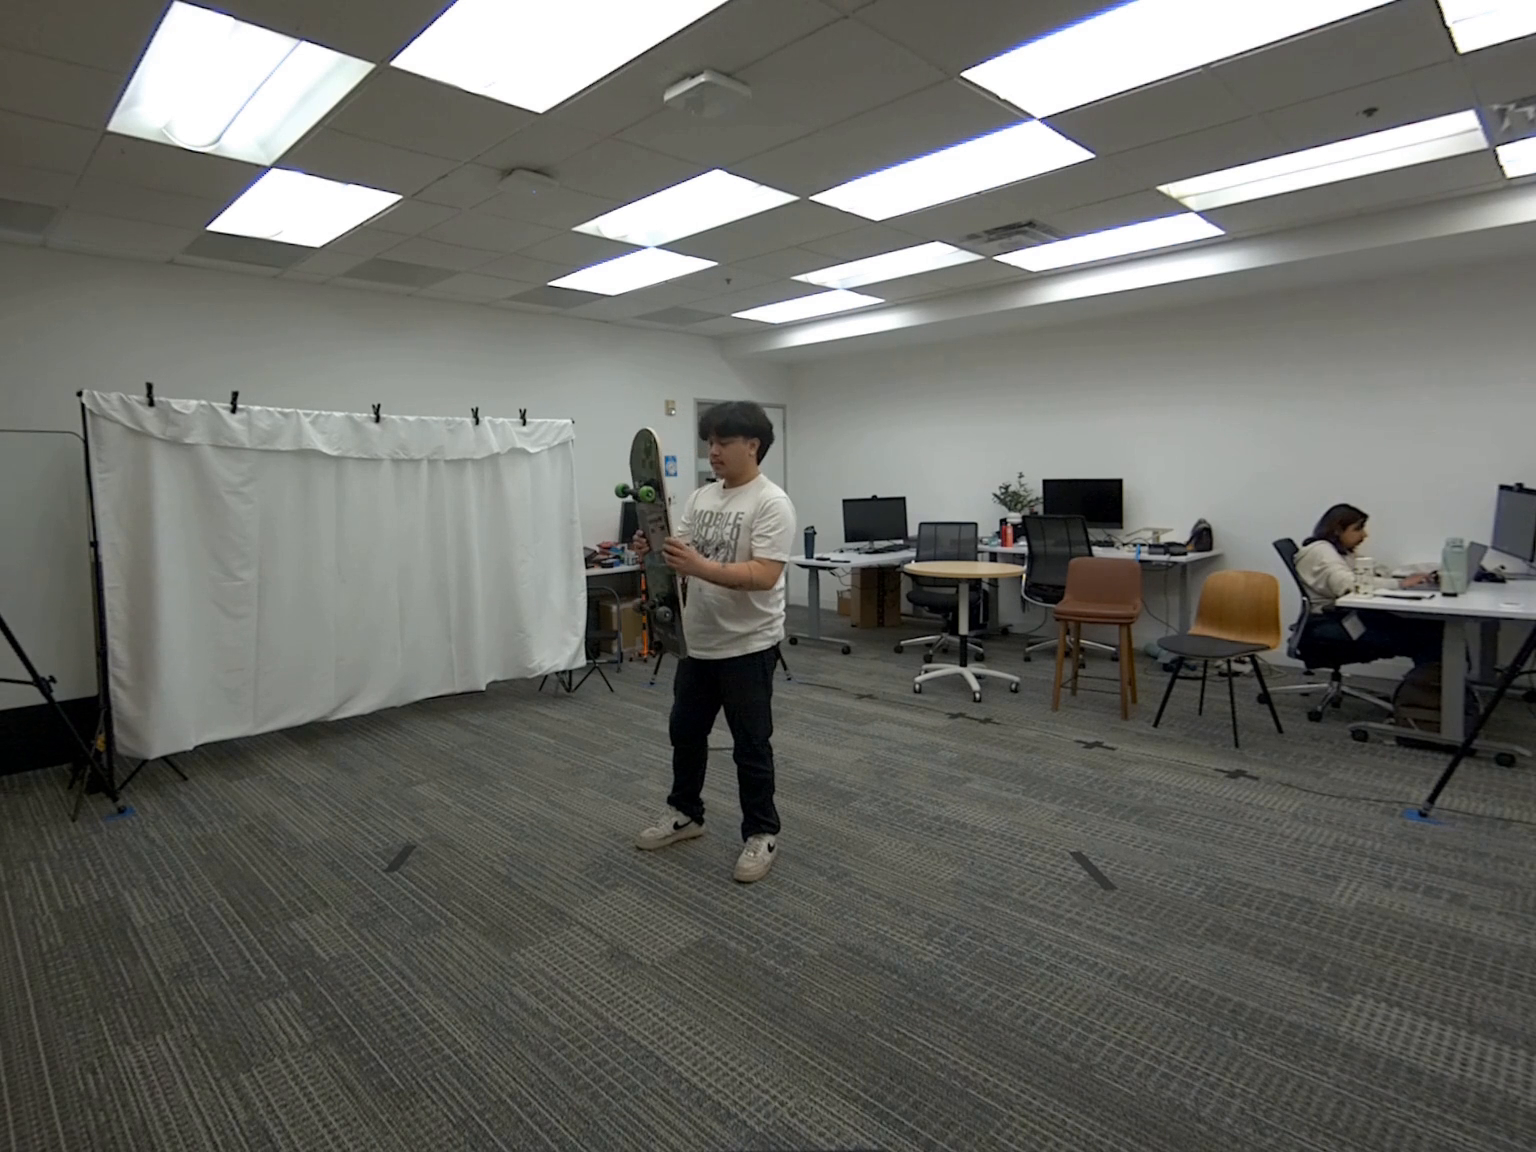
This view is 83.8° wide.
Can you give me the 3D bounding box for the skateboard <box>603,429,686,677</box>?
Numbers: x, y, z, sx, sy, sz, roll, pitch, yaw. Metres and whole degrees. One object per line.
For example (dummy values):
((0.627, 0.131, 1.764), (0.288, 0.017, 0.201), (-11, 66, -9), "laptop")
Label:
((-0.381, -0.080, 2.804), (0.108, 0.775, 0.200), (-17, 15, -37), "skateboard")
